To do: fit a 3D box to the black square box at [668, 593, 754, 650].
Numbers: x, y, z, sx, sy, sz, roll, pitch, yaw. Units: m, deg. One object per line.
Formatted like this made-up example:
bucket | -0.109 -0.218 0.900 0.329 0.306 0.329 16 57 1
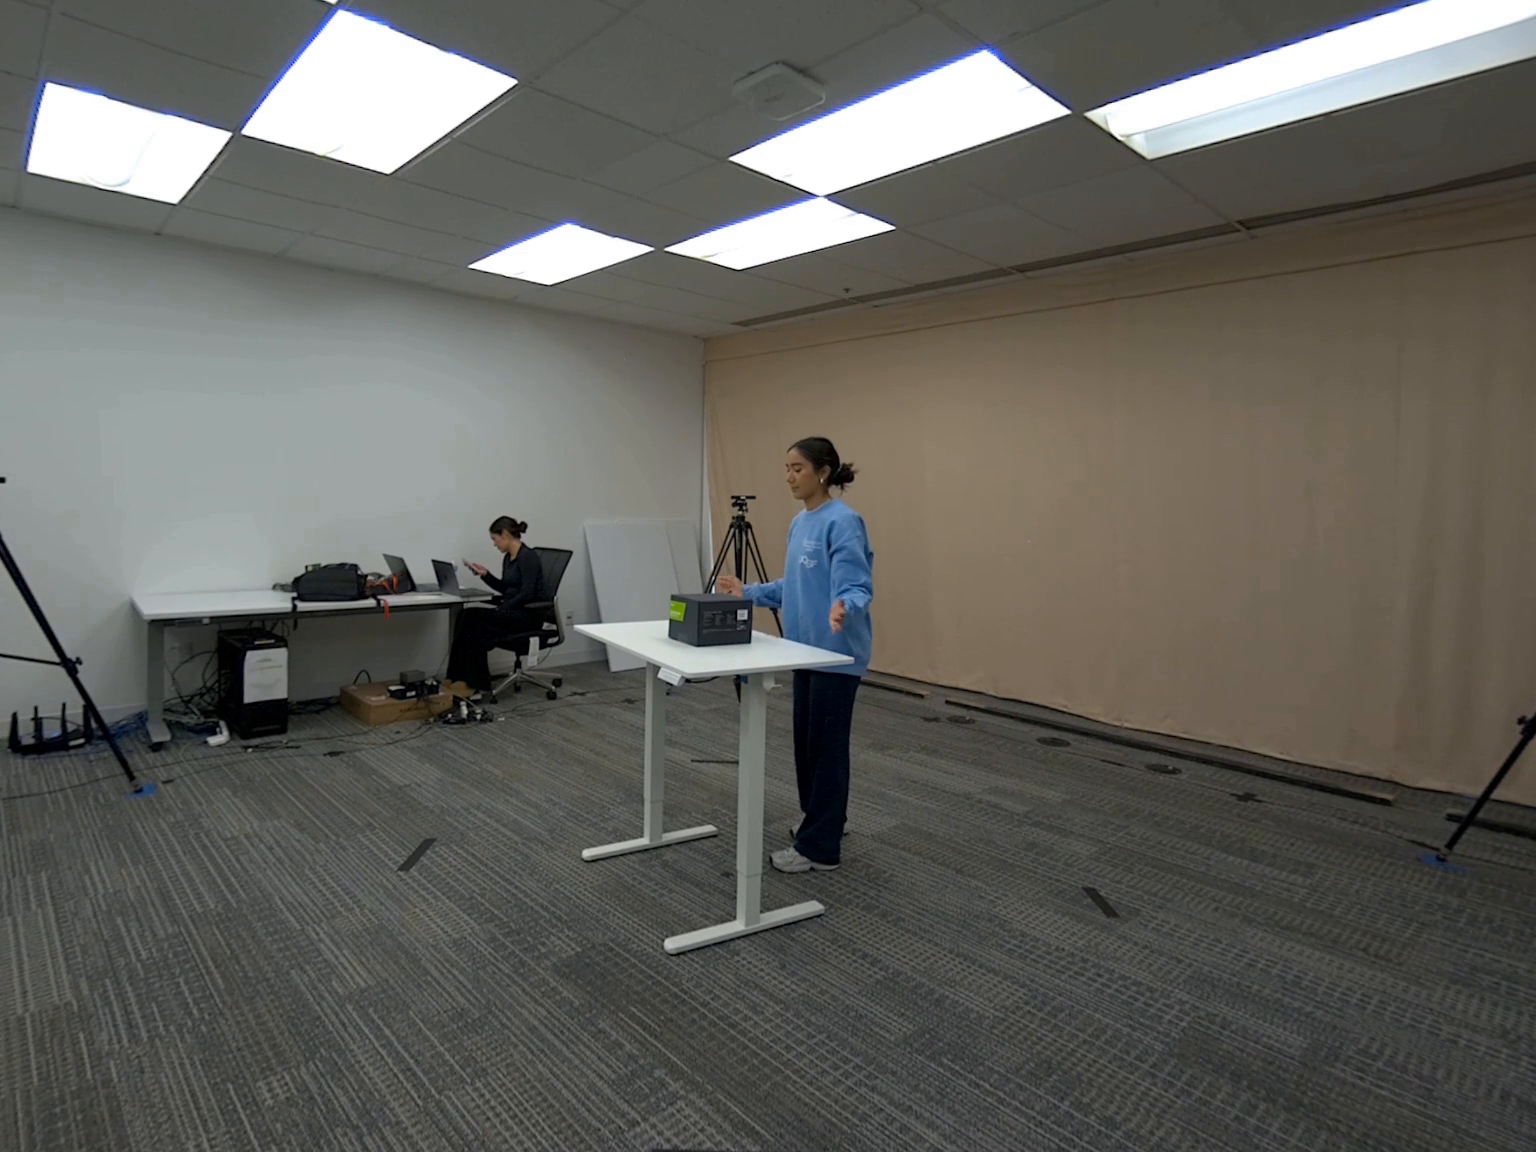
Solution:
black square box | -0.205 0.154 2.980 0.213 0.155 0.233 -1 5 -29
